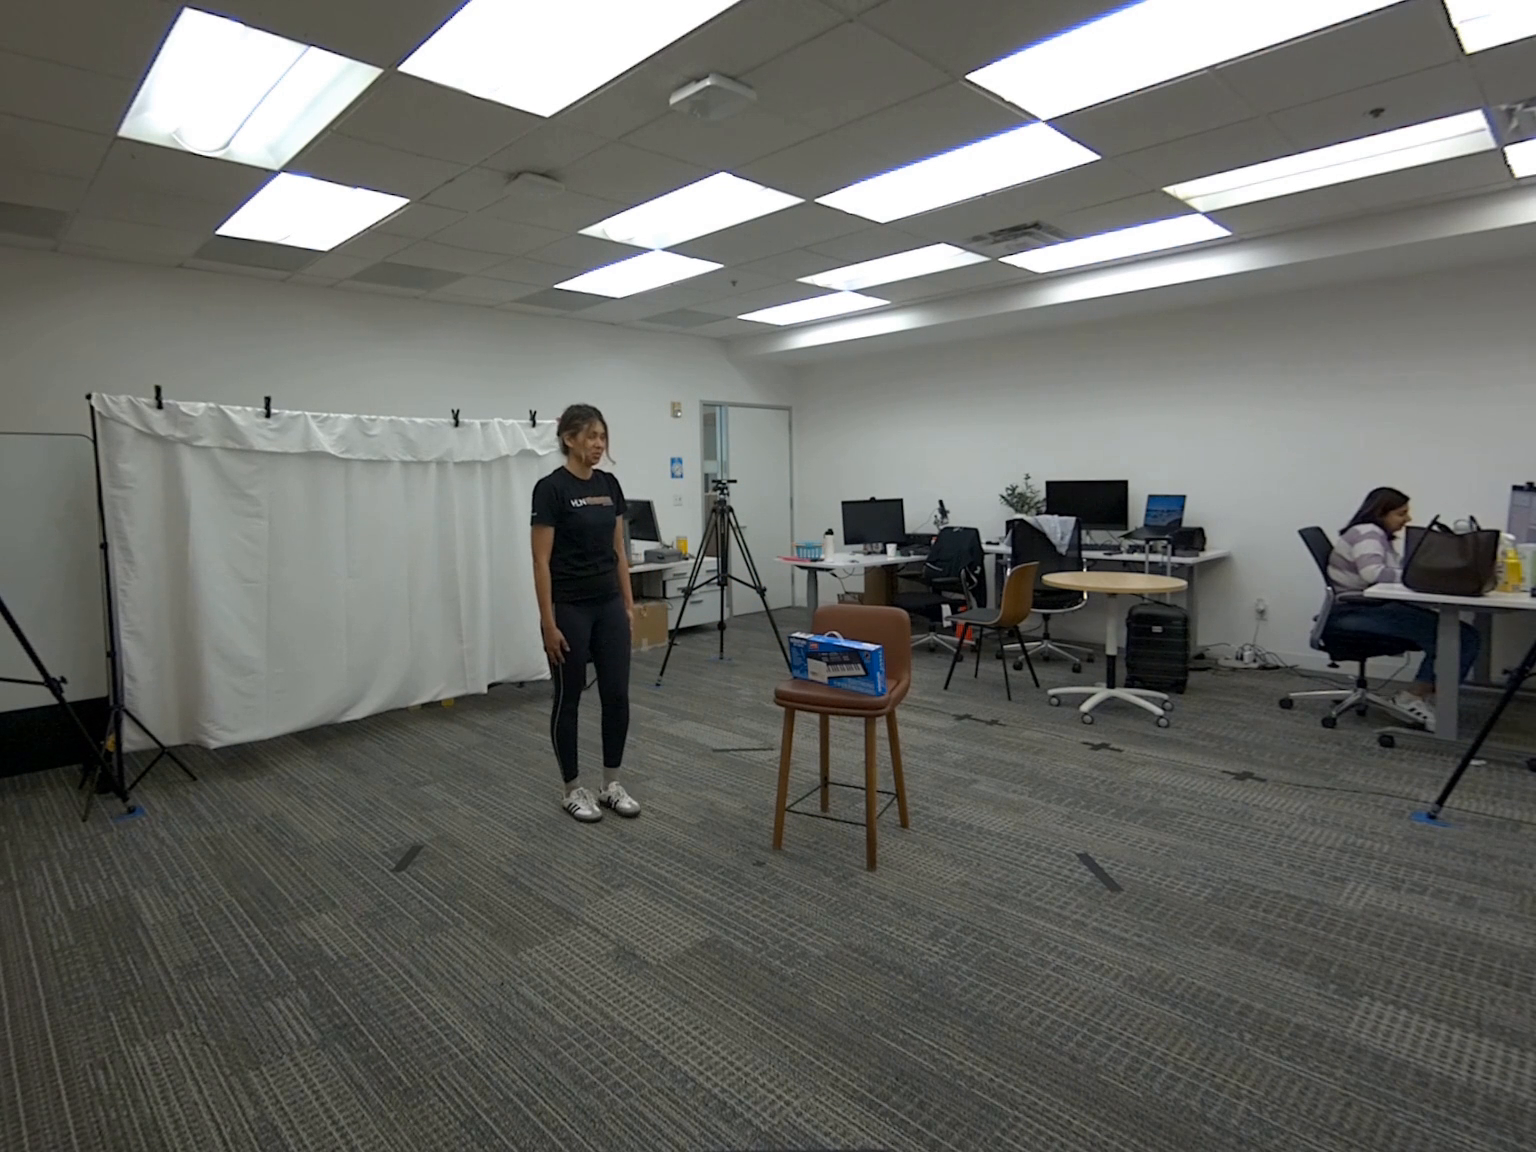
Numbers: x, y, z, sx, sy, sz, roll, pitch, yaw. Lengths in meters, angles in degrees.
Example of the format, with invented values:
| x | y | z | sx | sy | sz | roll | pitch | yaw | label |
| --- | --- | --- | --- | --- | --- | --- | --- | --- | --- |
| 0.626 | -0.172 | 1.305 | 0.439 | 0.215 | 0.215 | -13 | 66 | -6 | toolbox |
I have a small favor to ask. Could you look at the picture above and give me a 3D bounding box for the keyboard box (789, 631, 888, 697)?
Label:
| x | y | z | sx | sy | sz | roll | pitch | yaw | label |
| --- | --- | --- | --- | --- | --- | --- | --- | --- | --- |
| 0.245 | 0.329 | 3.228 | 0.058 | 0.174 | 0.450 | -13 | 11 | -39 | keyboard box |
